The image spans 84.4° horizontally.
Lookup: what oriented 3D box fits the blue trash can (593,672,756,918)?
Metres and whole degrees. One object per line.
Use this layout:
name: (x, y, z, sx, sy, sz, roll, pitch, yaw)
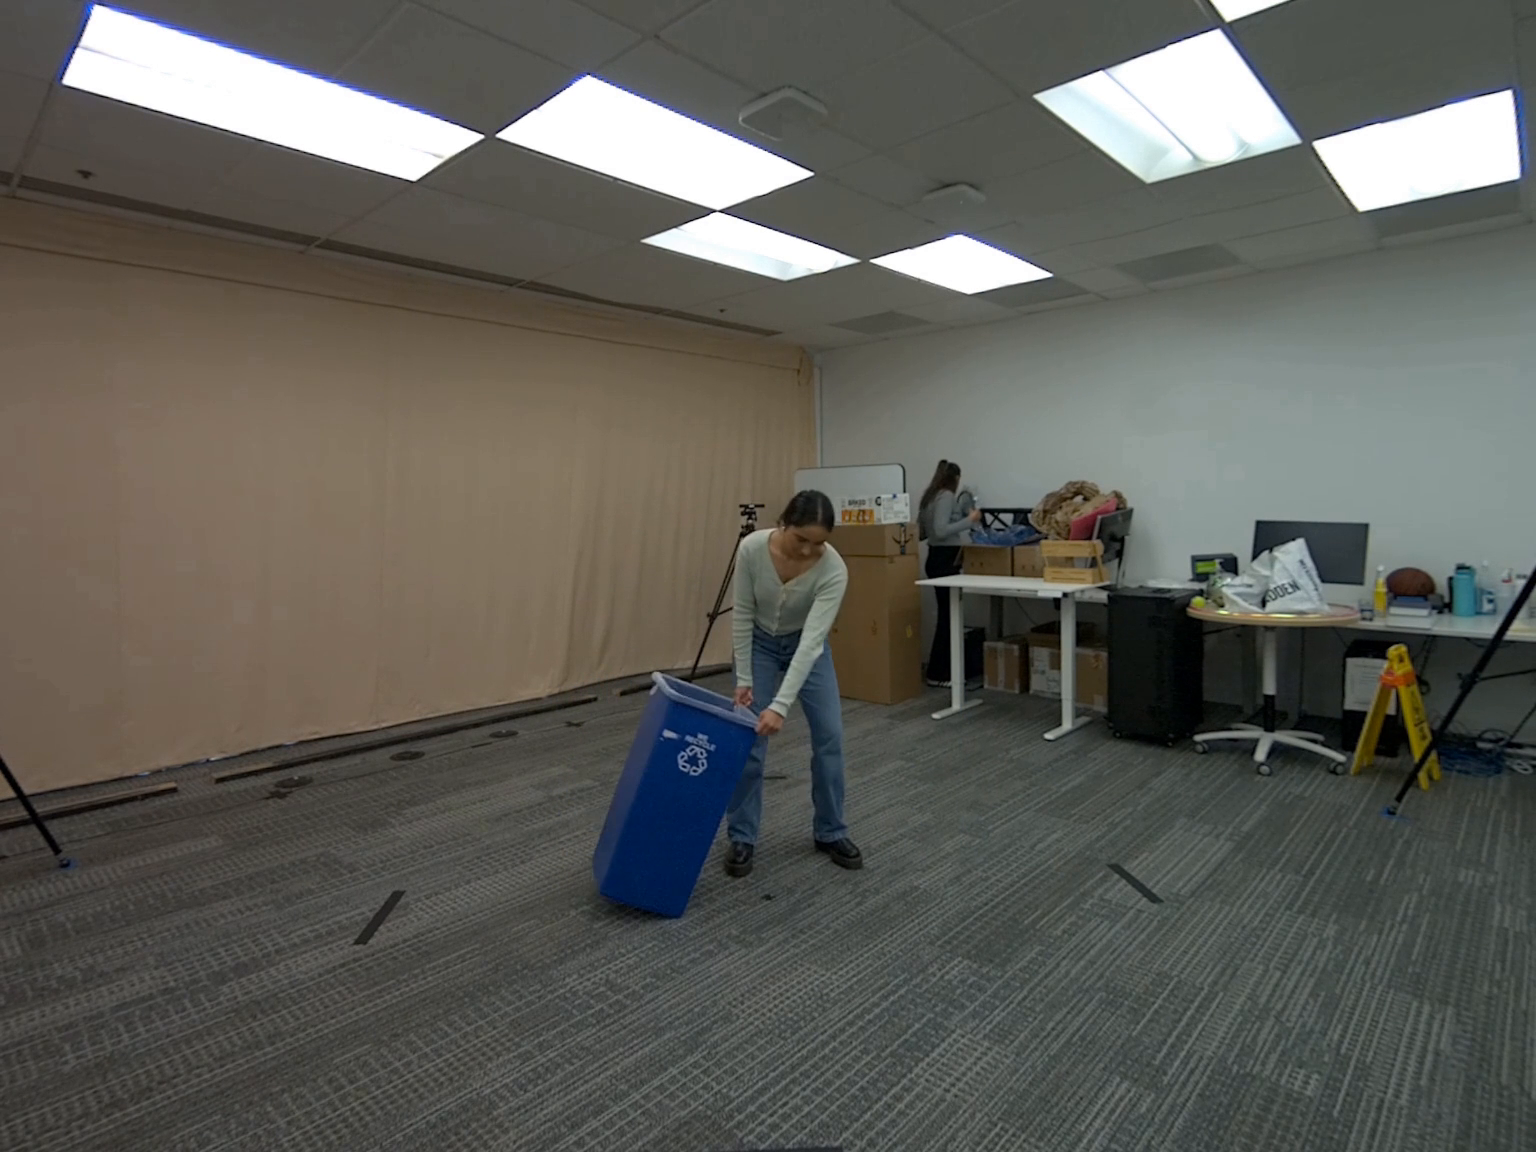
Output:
blue trash can: (-0.334, 0.760, 2.975, 0.367, 0.714, 0.385, 21, -2, -16)
